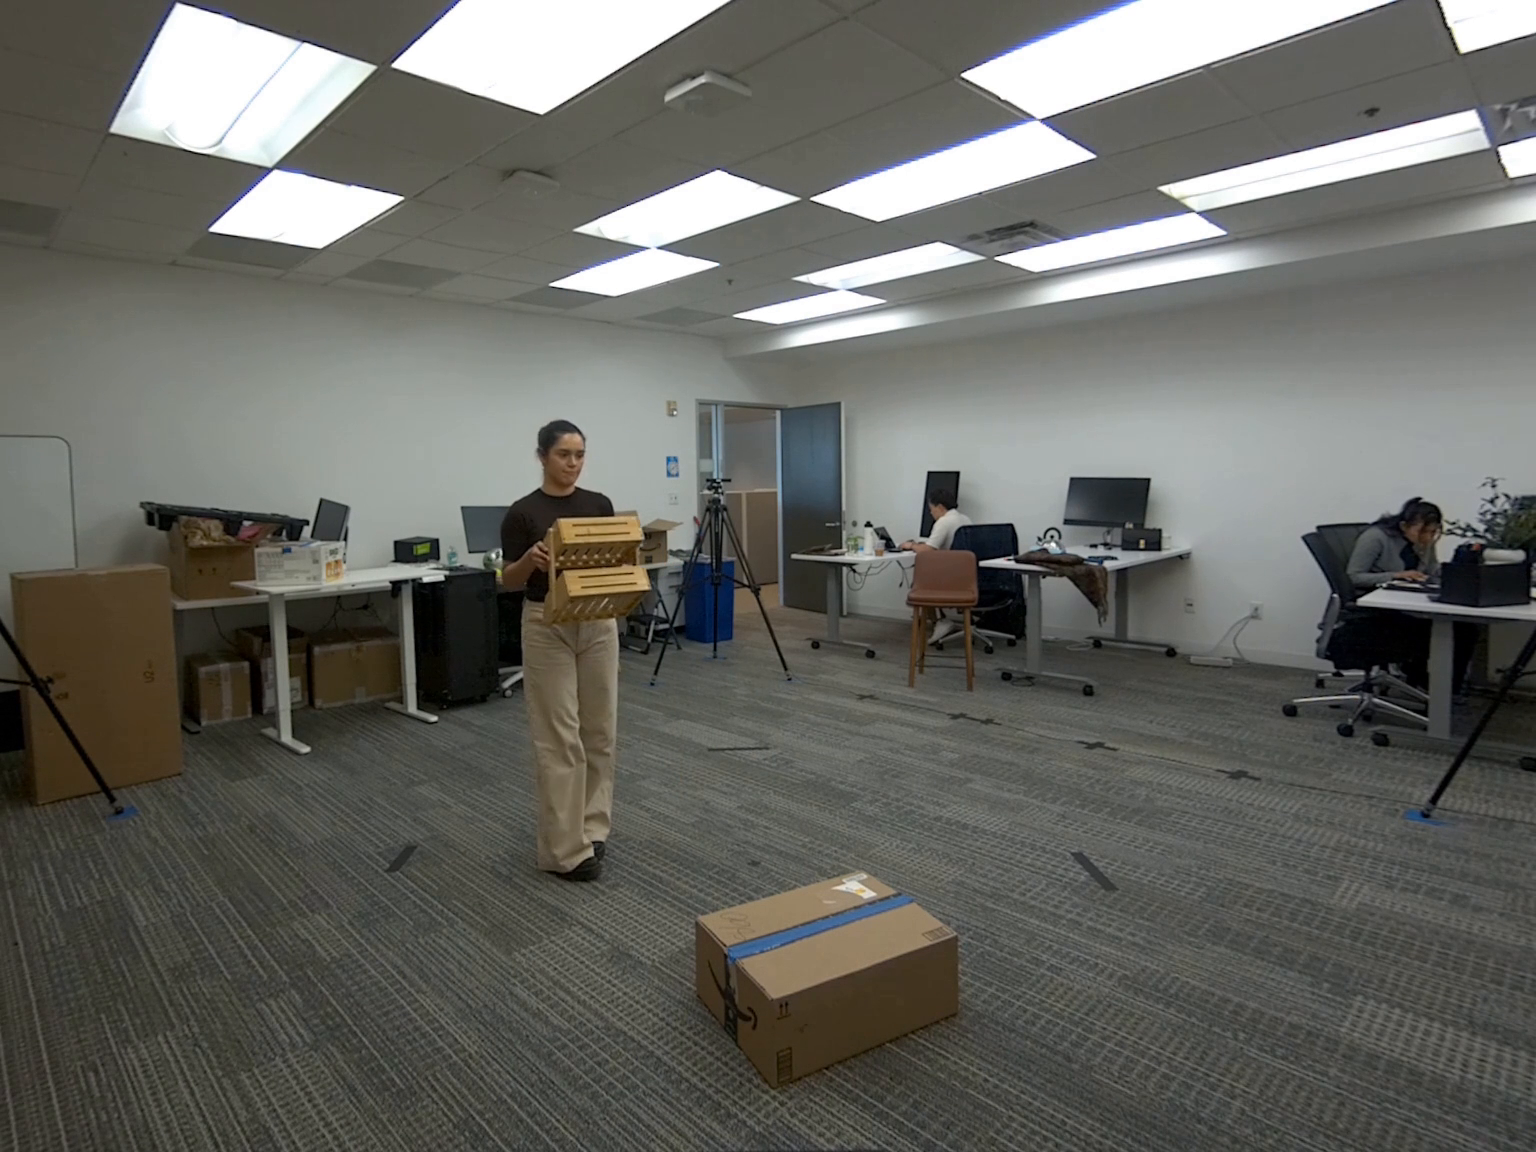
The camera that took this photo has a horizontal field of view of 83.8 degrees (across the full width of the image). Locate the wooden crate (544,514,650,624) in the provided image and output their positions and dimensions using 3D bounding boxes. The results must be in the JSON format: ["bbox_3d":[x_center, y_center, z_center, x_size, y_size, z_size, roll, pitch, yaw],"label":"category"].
[{"bbox_3d":[-0.610,-0.023,2.962,0.316,0.280,0.302,-3,-24,-33],"label":"wooden crate"}]
